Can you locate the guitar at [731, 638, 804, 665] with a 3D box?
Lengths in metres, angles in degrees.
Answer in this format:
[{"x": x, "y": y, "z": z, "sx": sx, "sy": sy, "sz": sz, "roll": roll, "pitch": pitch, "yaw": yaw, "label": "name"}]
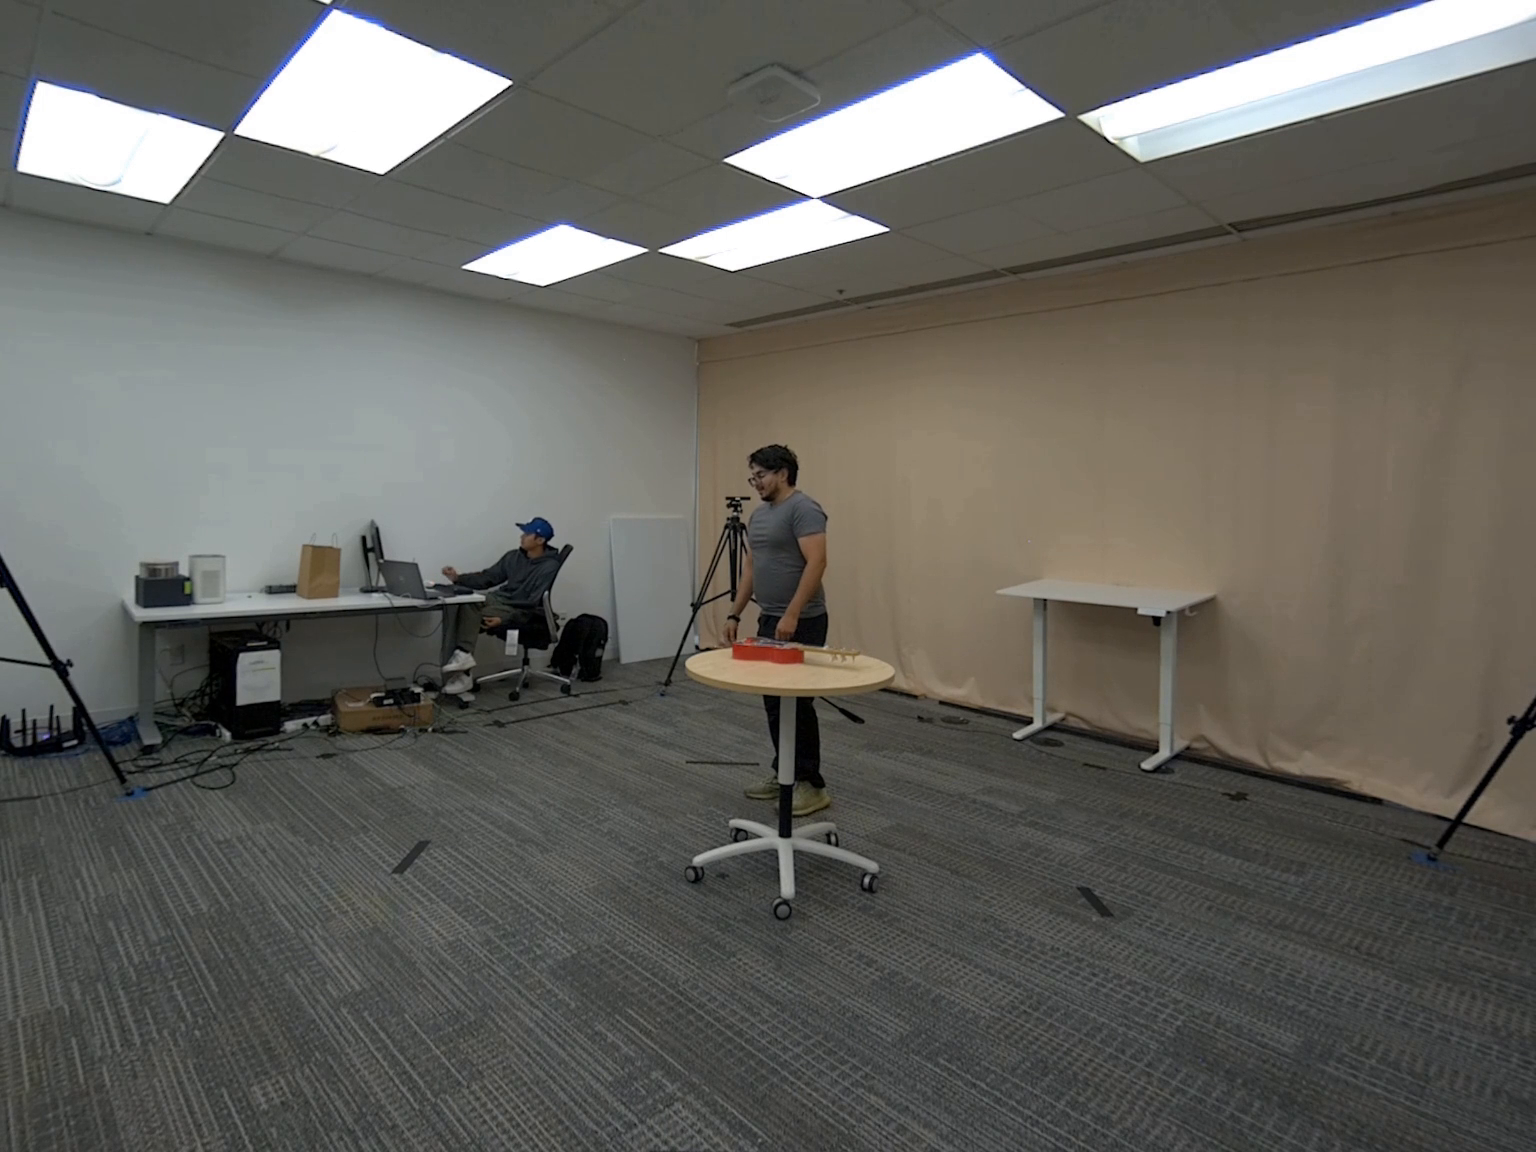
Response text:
[{"x": 0.067, "y": 0.288, "z": 3.151, "sx": 0.510, "sy": 0.070, "sz": 0.188, "roll": 6, "pitch": 5, "yaw": 37, "label": "guitar"}]
